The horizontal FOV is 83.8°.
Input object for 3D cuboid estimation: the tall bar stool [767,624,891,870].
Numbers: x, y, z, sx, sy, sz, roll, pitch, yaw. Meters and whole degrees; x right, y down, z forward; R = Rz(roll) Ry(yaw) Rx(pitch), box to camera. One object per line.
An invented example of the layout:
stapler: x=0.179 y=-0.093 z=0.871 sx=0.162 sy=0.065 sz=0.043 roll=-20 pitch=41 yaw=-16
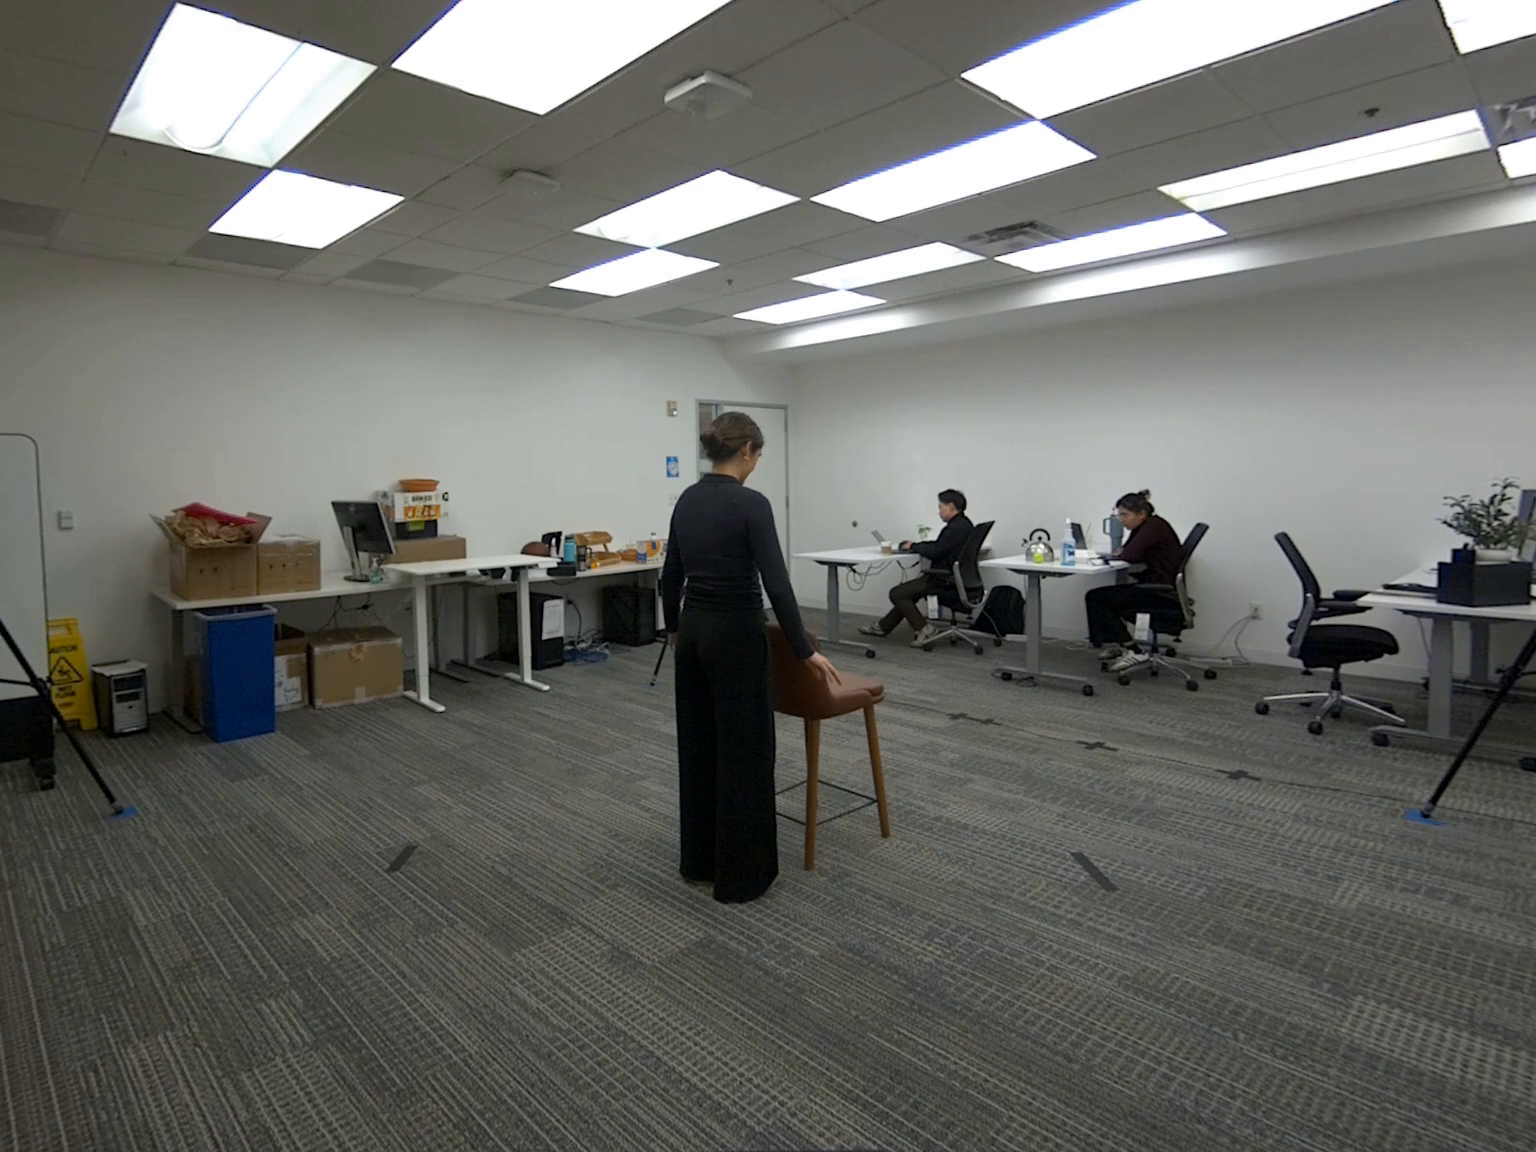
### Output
tall bar stool: x=0.164 y=0.582 z=3.293 sx=0.456 sy=0.885 sz=0.470 roll=-7 pitch=7 yaw=-42
